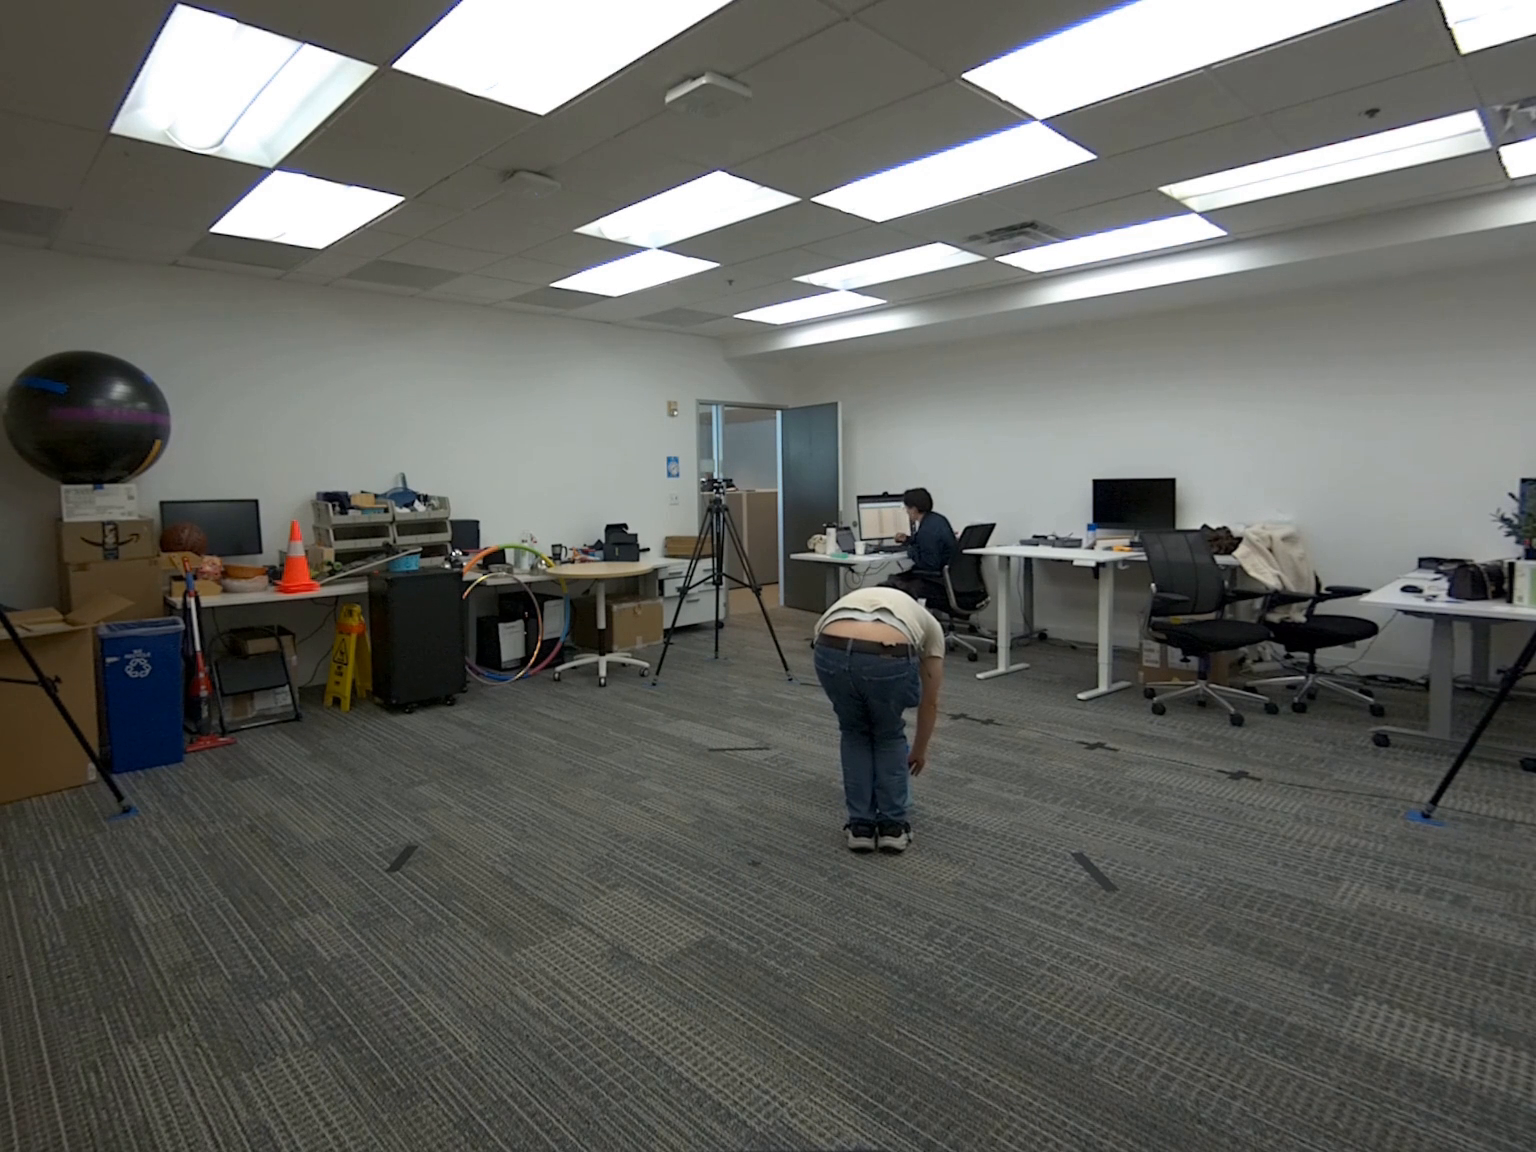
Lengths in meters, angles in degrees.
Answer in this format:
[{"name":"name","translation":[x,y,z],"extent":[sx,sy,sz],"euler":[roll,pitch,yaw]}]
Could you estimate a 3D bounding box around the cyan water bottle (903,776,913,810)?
[{"name":"cyan water bottle","translation":[0.570,0.833,3.640],"extent":[0.092,0.282,0.093],"euler":[-1,4,-2]}]
